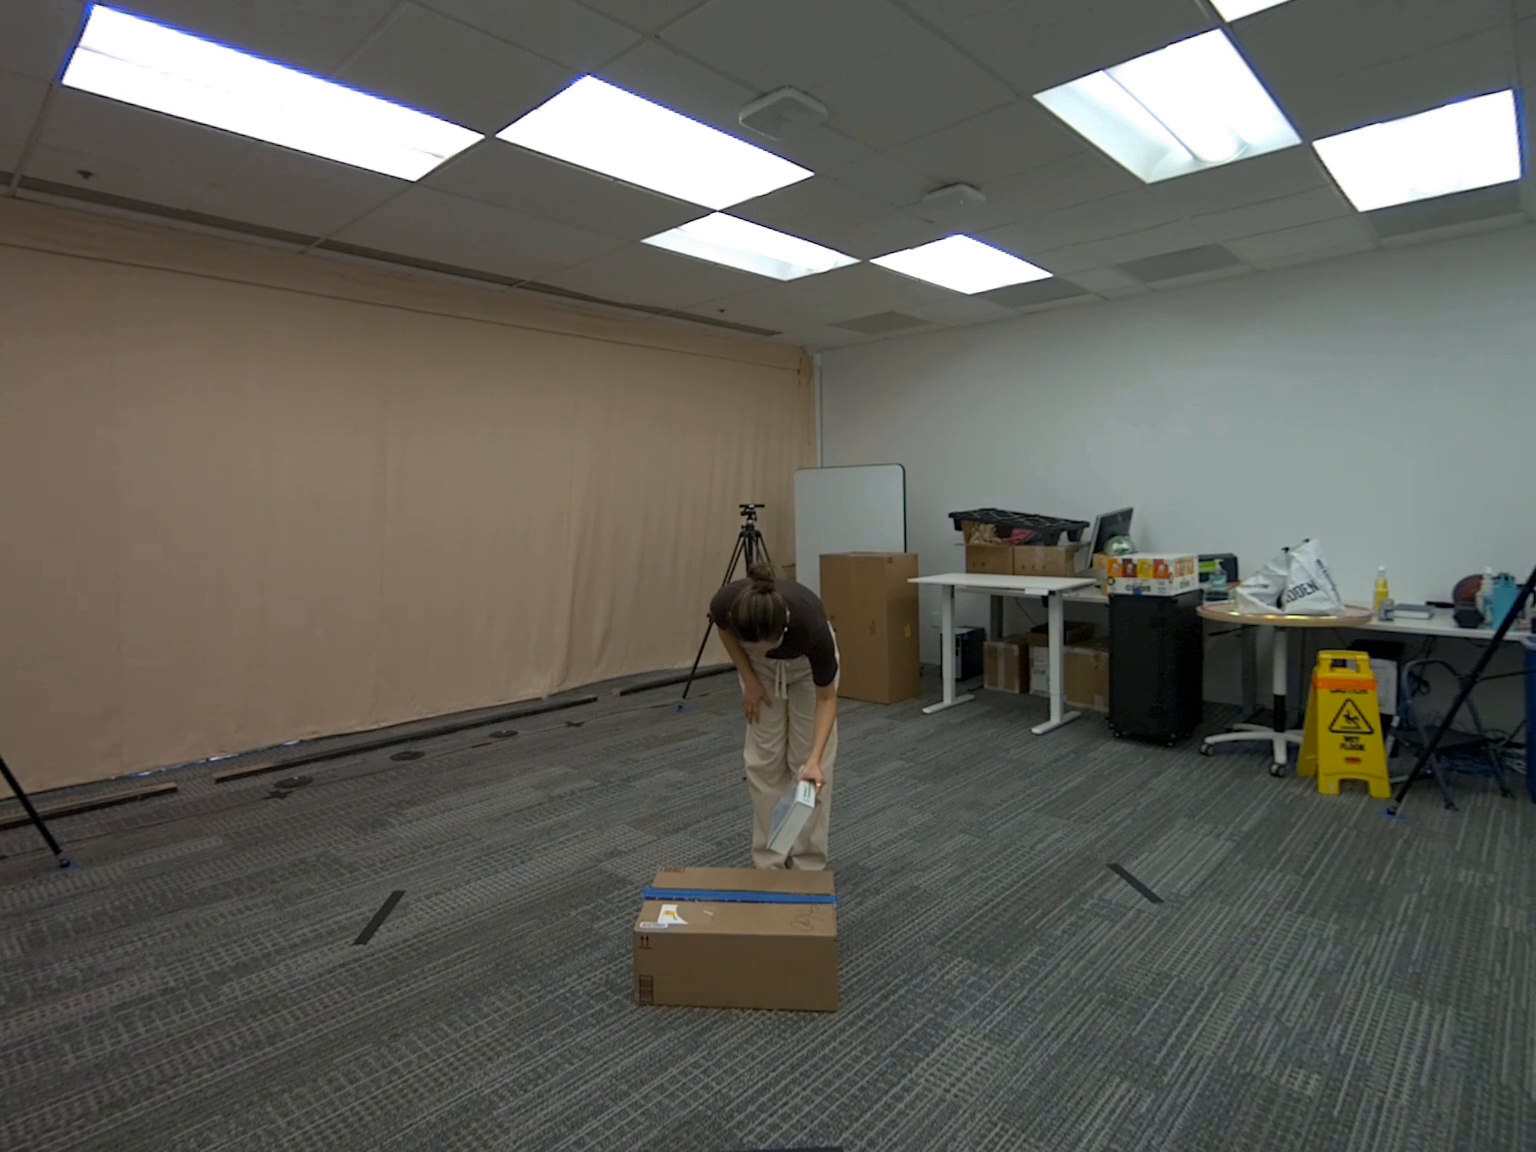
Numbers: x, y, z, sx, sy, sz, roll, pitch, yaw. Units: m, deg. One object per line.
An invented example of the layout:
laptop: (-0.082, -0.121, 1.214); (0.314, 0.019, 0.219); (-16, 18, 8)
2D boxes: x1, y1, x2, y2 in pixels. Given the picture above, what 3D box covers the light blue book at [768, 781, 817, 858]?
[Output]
light blue book: (0.079, 0.728, 2.645); (0.059, 0.191, 0.261); (25, 12, -1)
